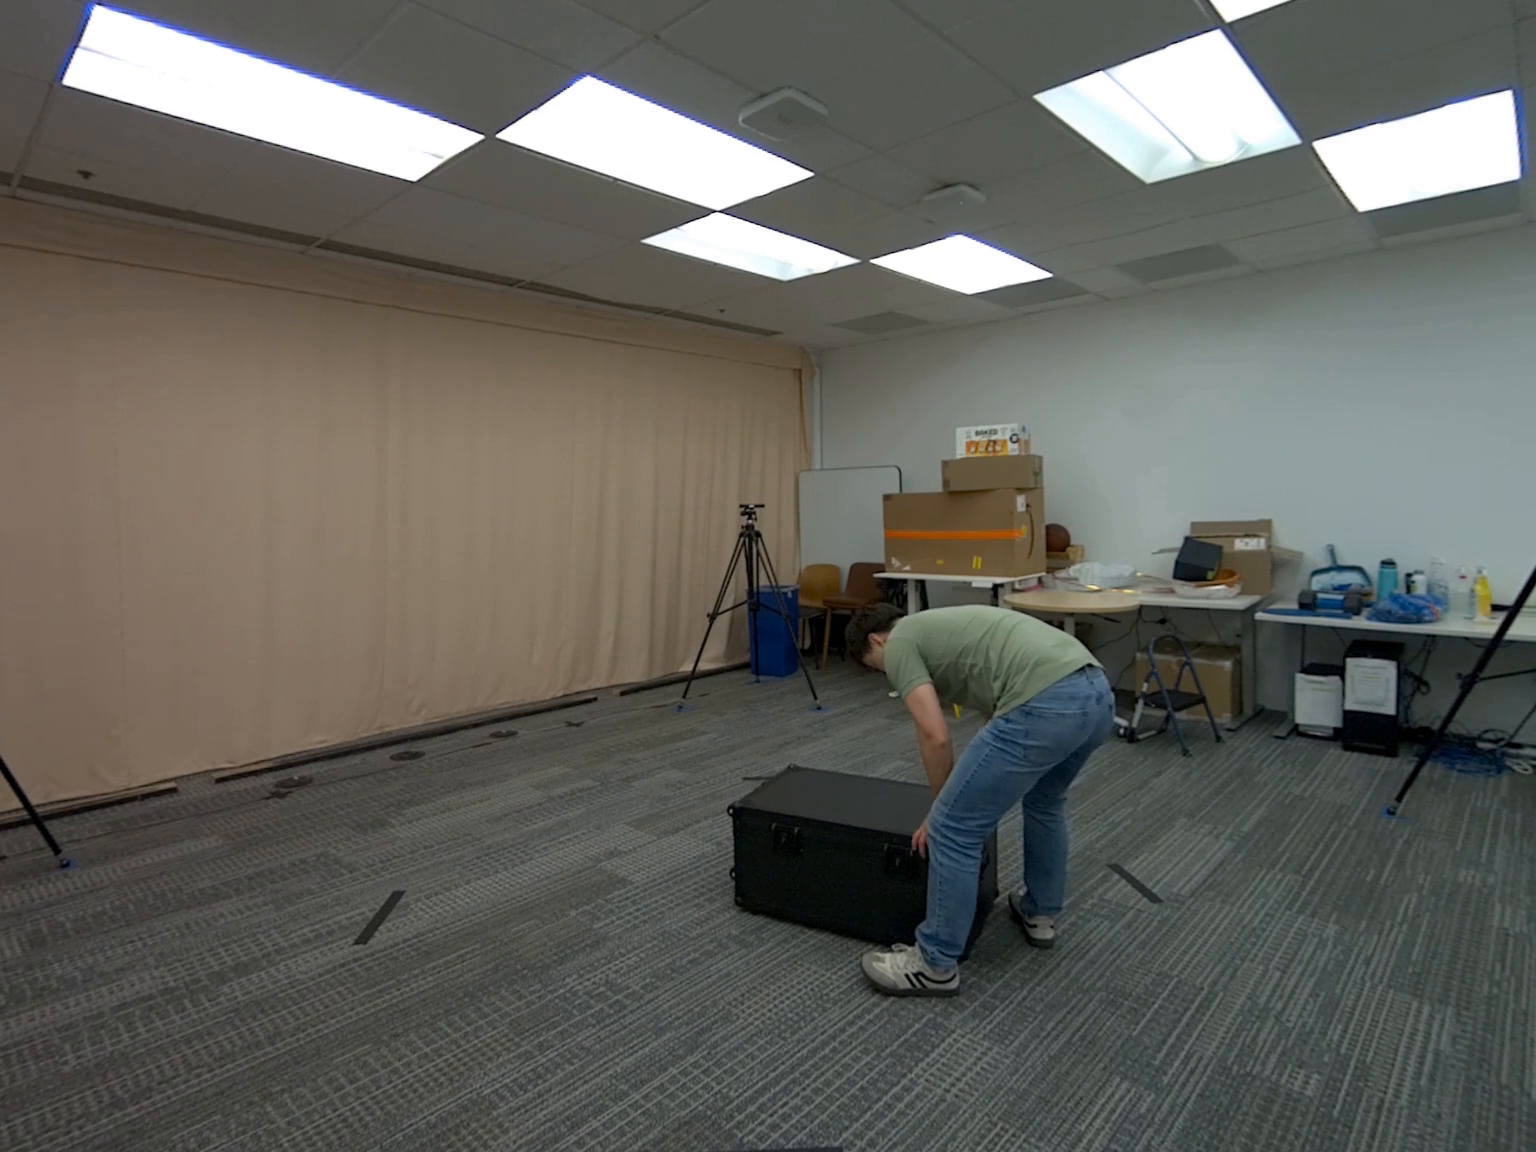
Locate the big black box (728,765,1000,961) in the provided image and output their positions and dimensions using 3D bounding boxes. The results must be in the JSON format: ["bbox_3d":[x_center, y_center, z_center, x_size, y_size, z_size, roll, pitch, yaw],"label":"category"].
[{"bbox_3d":[0.312,0.949,2.908,0.885,0.395,0.508,2,5,28],"label":"big black box"}]
